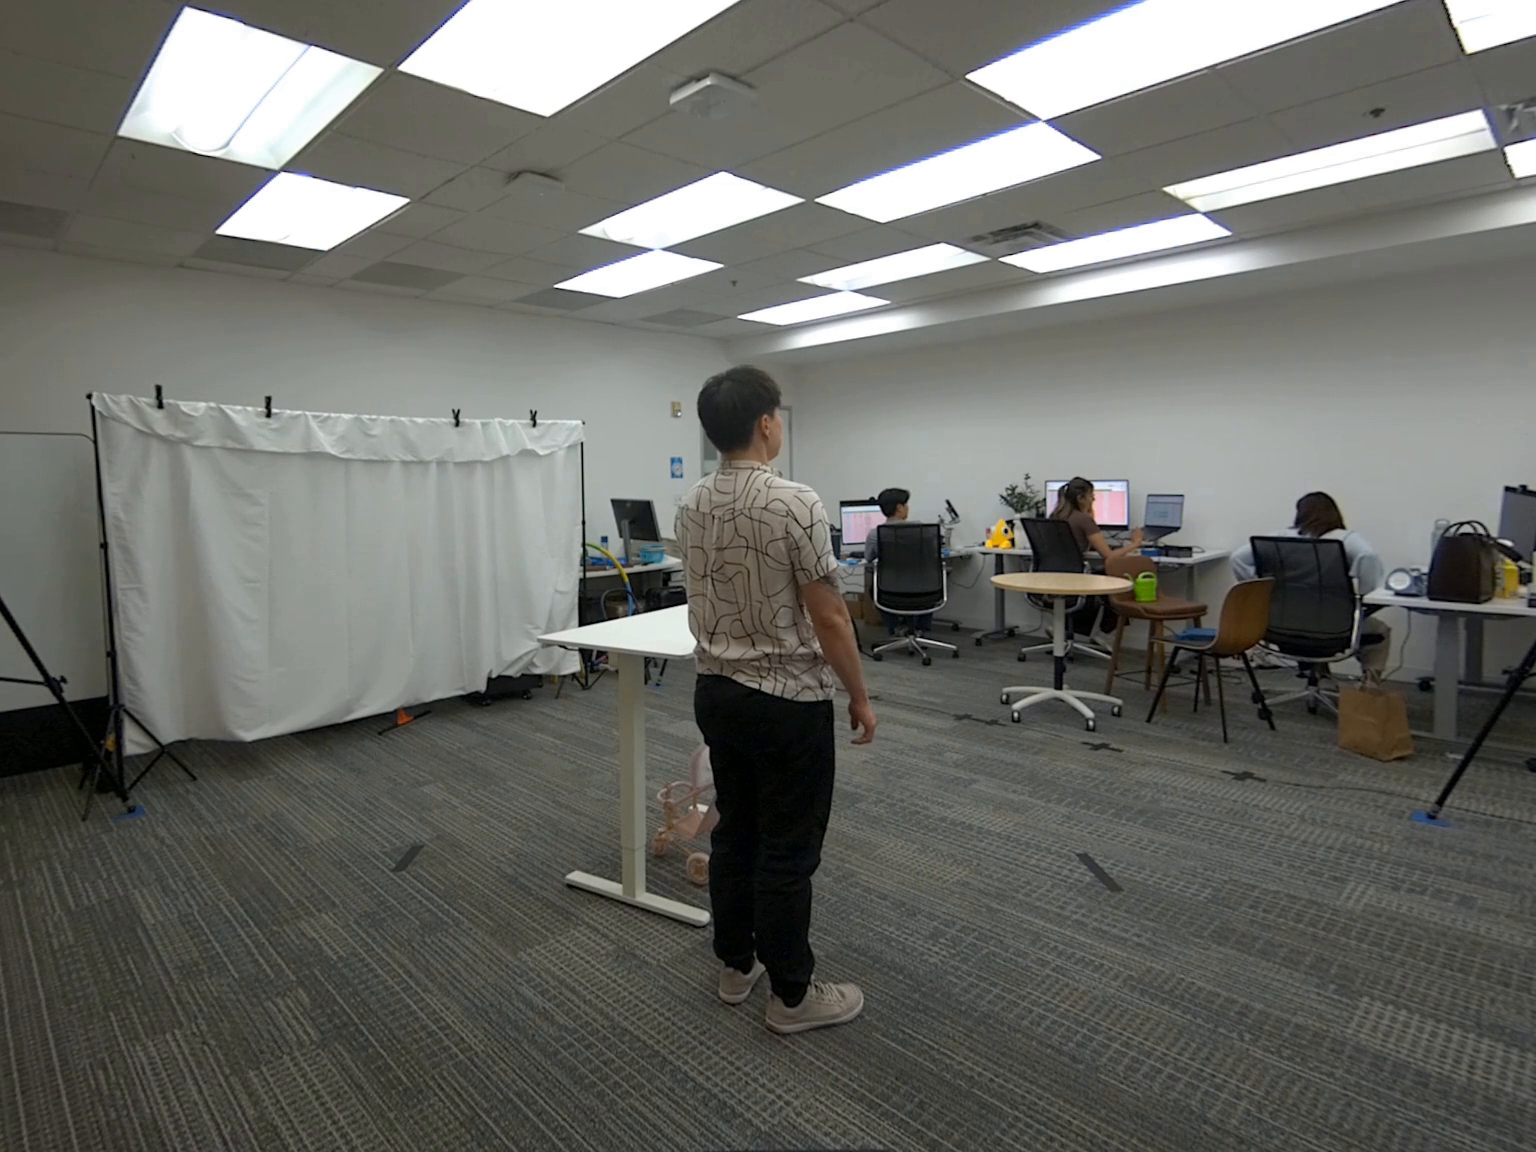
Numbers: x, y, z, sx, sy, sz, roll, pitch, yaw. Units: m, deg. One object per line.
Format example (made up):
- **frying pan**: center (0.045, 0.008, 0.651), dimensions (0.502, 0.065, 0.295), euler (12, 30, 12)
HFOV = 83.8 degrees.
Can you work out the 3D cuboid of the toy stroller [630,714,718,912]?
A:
- **toy stroller**: center (-0.229, 0.826, 3.087), dimensions (0.352, 0.530, 0.275), euler (20, 14, 30)
